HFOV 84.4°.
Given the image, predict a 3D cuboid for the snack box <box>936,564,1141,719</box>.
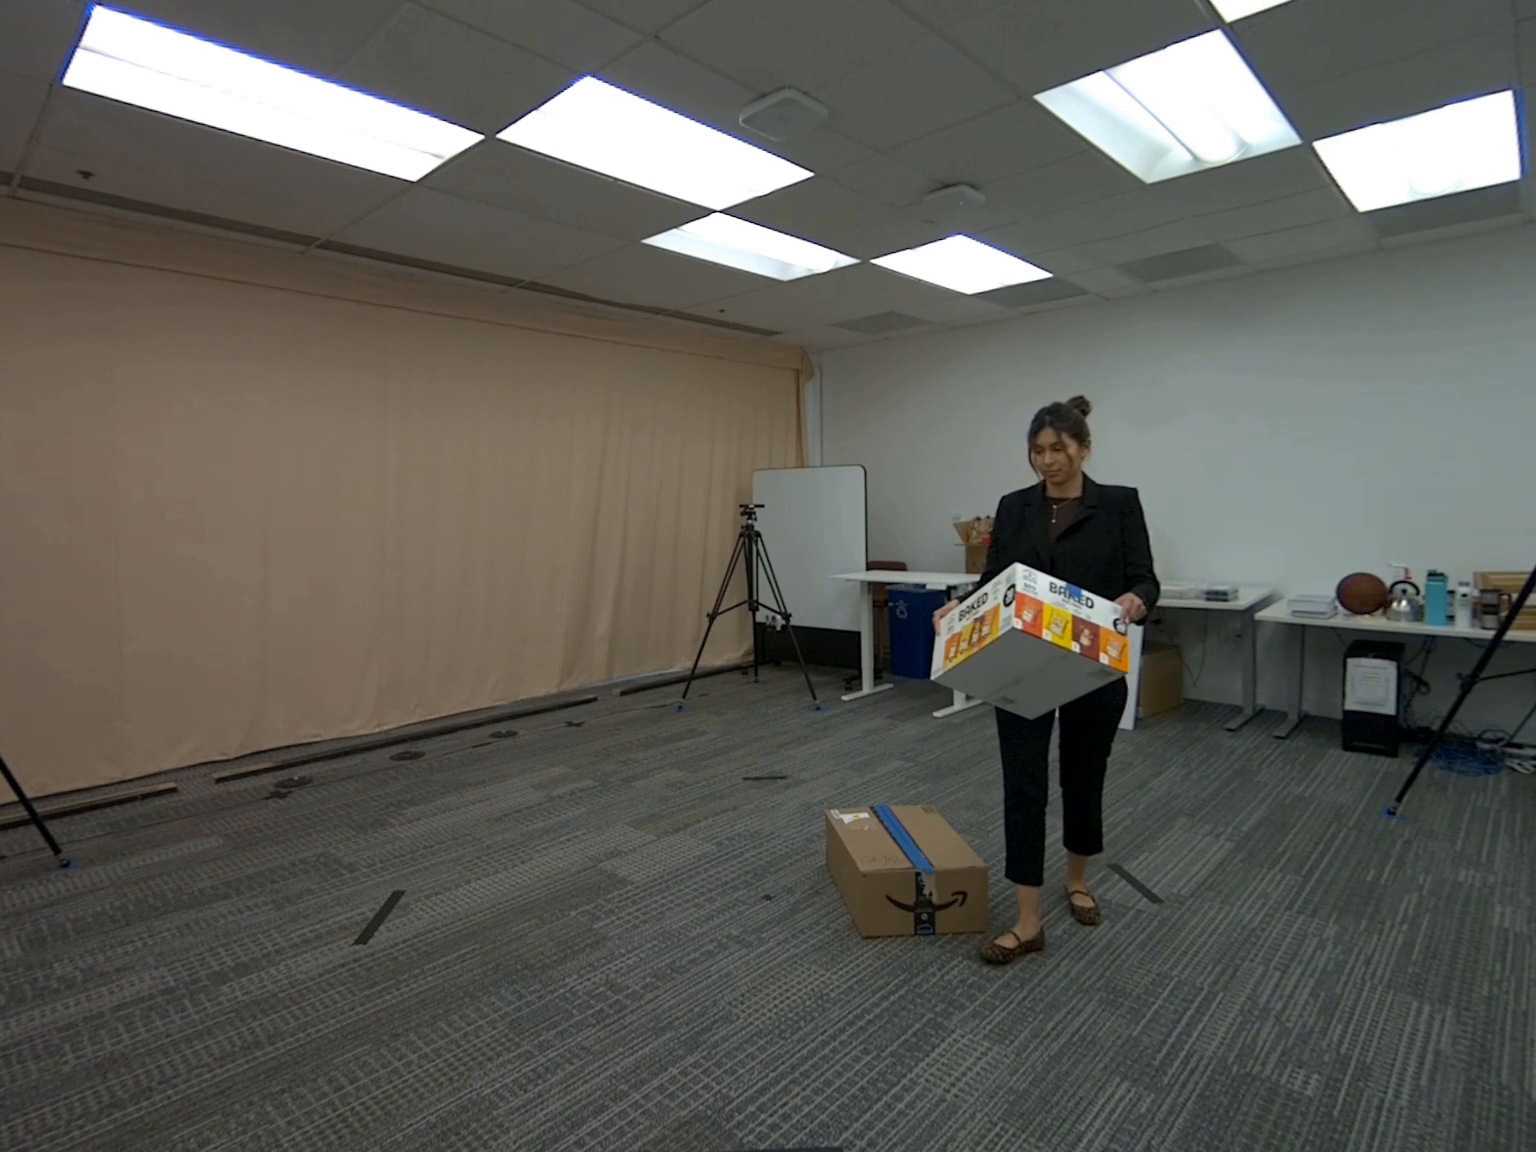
[{"bbox_3d":[0.730,0.195,2.332,0.337,0.207,0.406,22,-34,-9],"label":"snack box"}]
